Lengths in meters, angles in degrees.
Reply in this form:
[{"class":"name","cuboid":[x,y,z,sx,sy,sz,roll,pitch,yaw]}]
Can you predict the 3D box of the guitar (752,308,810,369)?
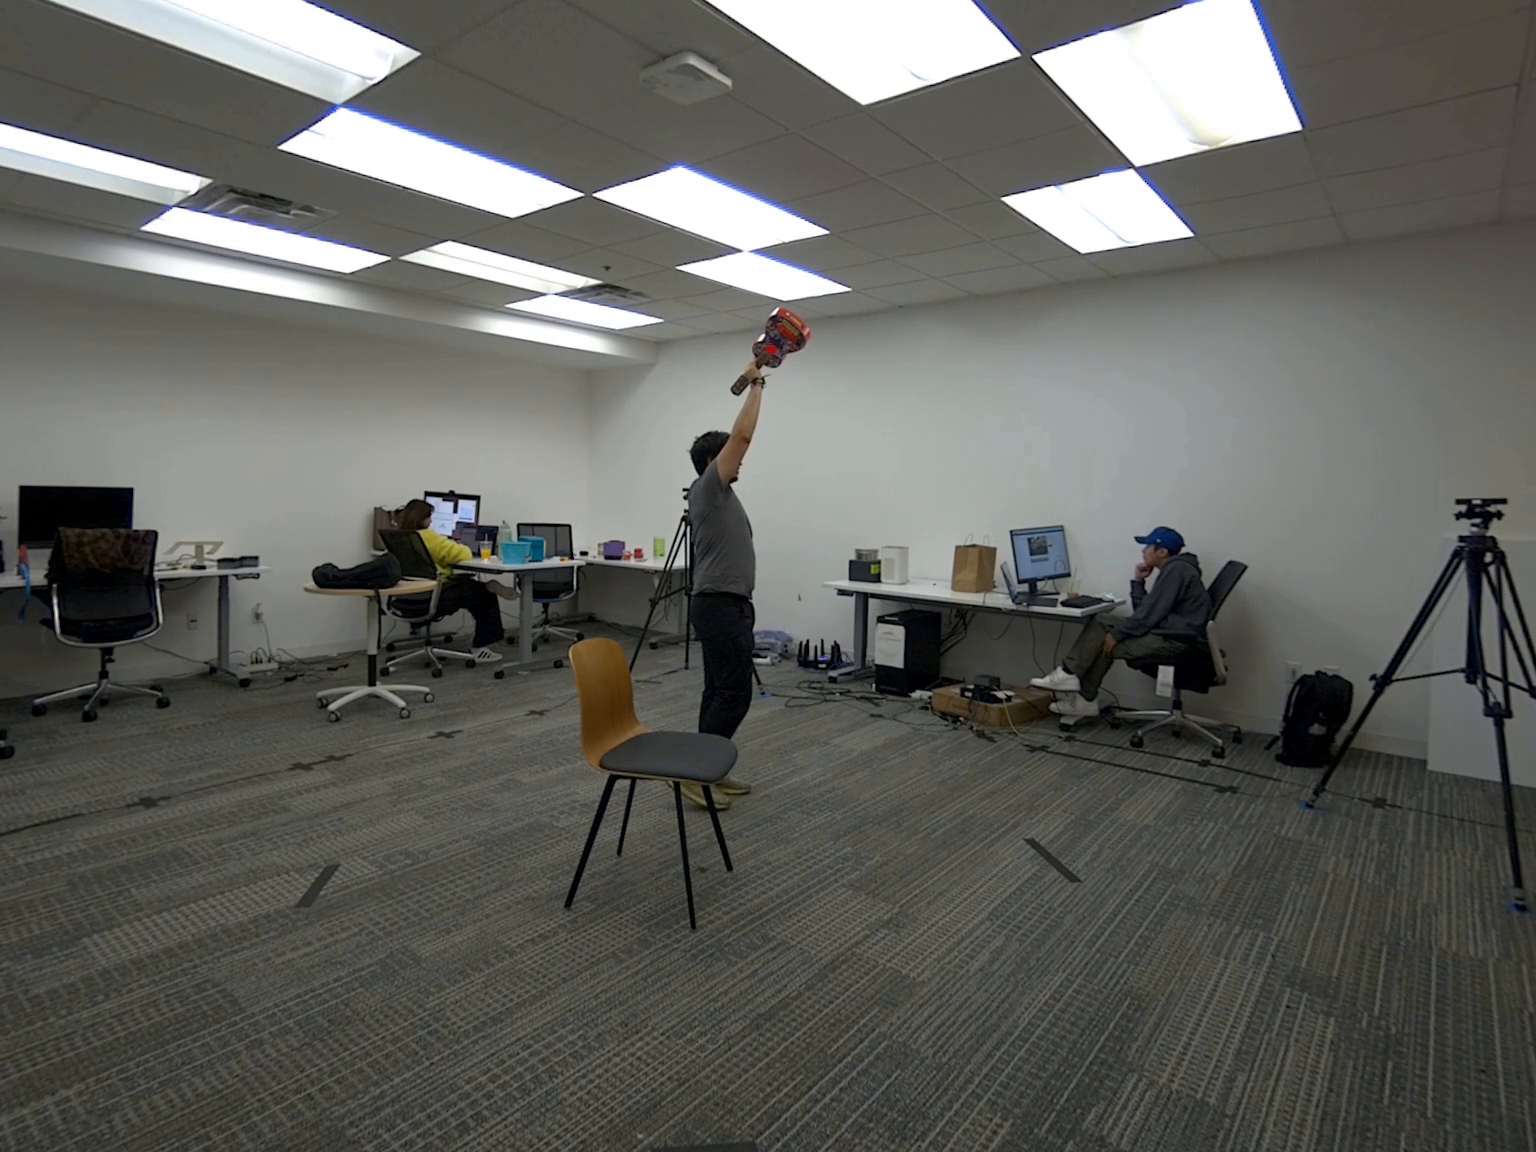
[{"class":"guitar","cuboid":[-0.047,-0.988,3.748,0.504,0.189,0.071,-28,22,44]}]
